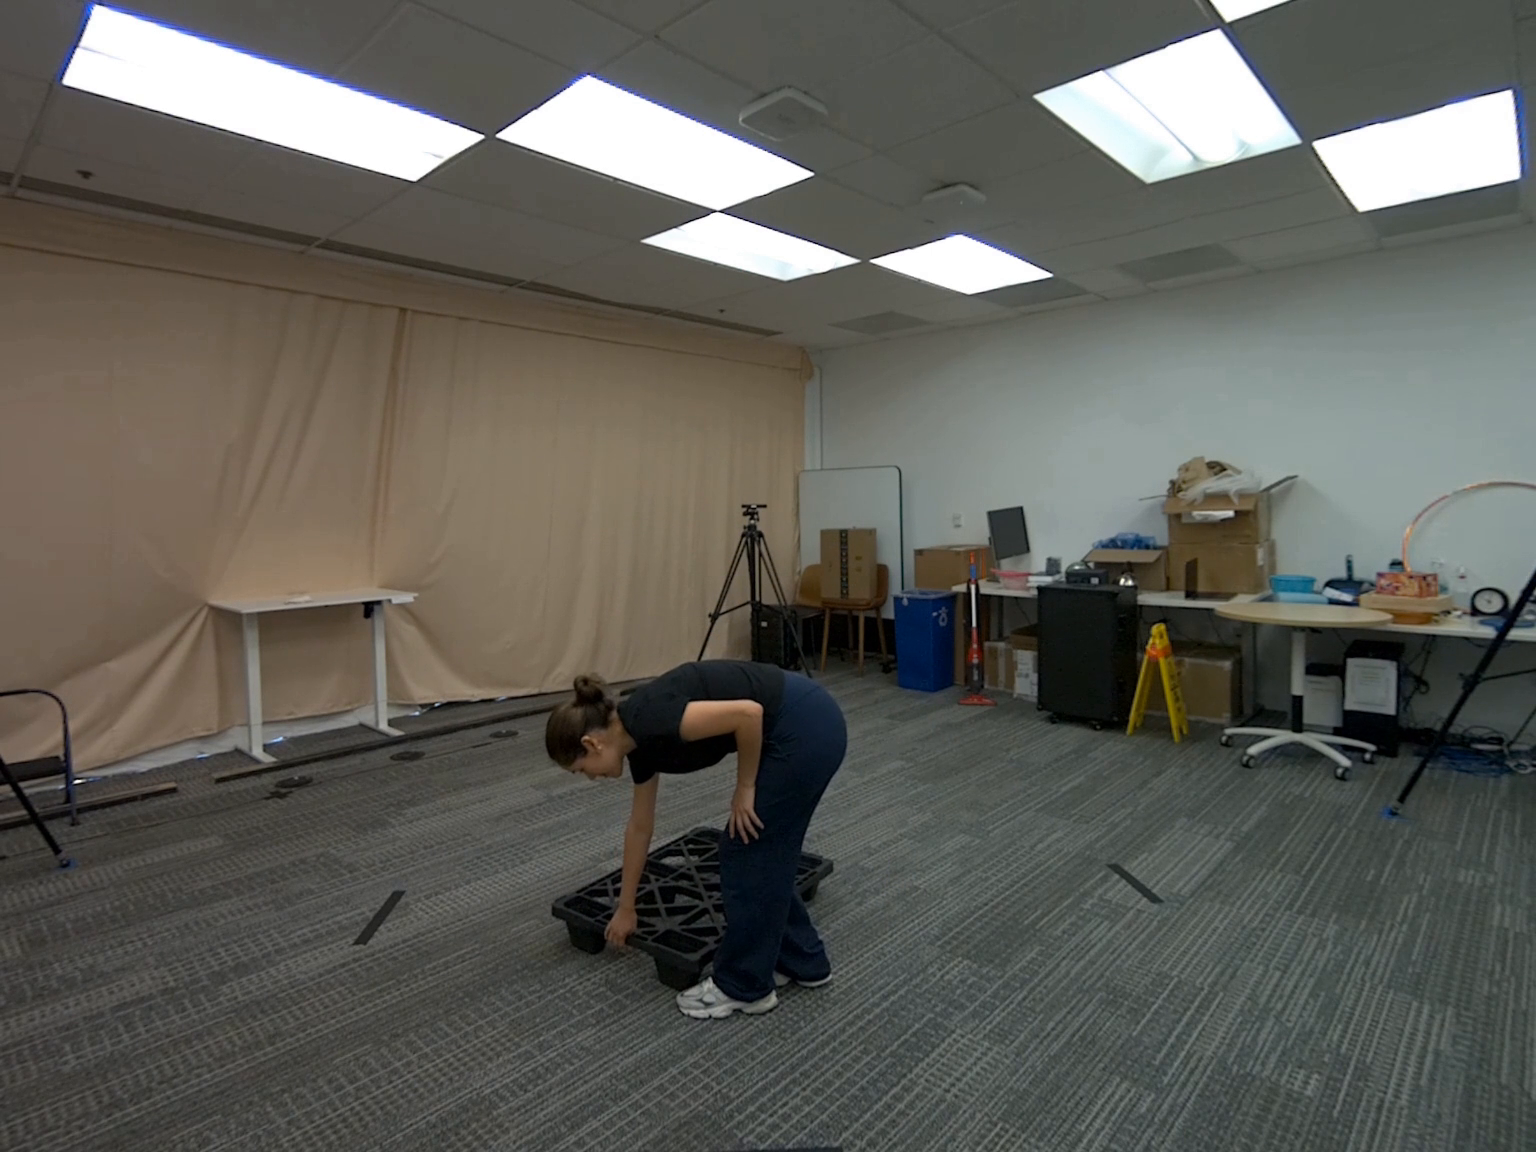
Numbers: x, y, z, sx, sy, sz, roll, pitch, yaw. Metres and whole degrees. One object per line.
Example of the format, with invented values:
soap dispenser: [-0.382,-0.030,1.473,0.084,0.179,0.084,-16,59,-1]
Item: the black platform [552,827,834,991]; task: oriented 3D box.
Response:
black platform: [-0.211,1.090,2.831,0.624,0.143,0.783,3,7,35]
